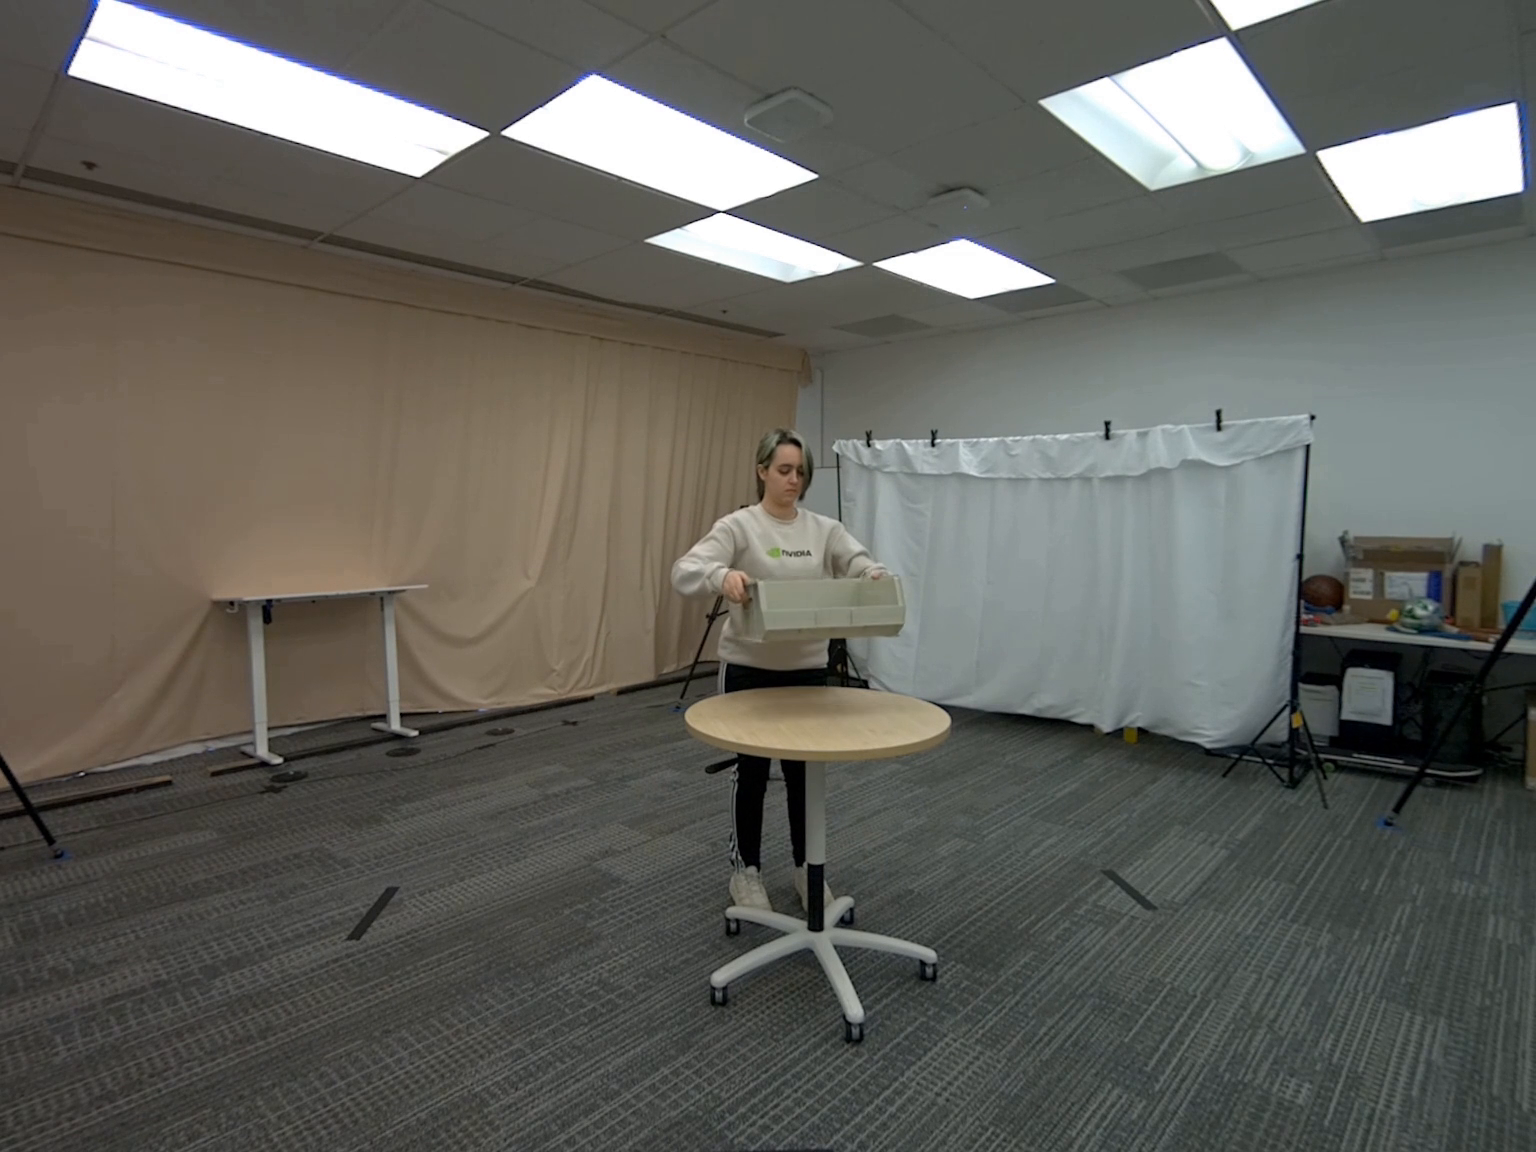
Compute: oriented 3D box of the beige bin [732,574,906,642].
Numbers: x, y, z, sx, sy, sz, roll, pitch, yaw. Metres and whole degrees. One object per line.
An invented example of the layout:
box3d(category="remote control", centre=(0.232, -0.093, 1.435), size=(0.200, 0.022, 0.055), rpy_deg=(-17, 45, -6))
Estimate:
box3d(category="beige bin", centre=(0.143, 0.101, 2.513), size=(0.418, 0.189, 0.381), rpy_deg=(-3, -3, -11))
